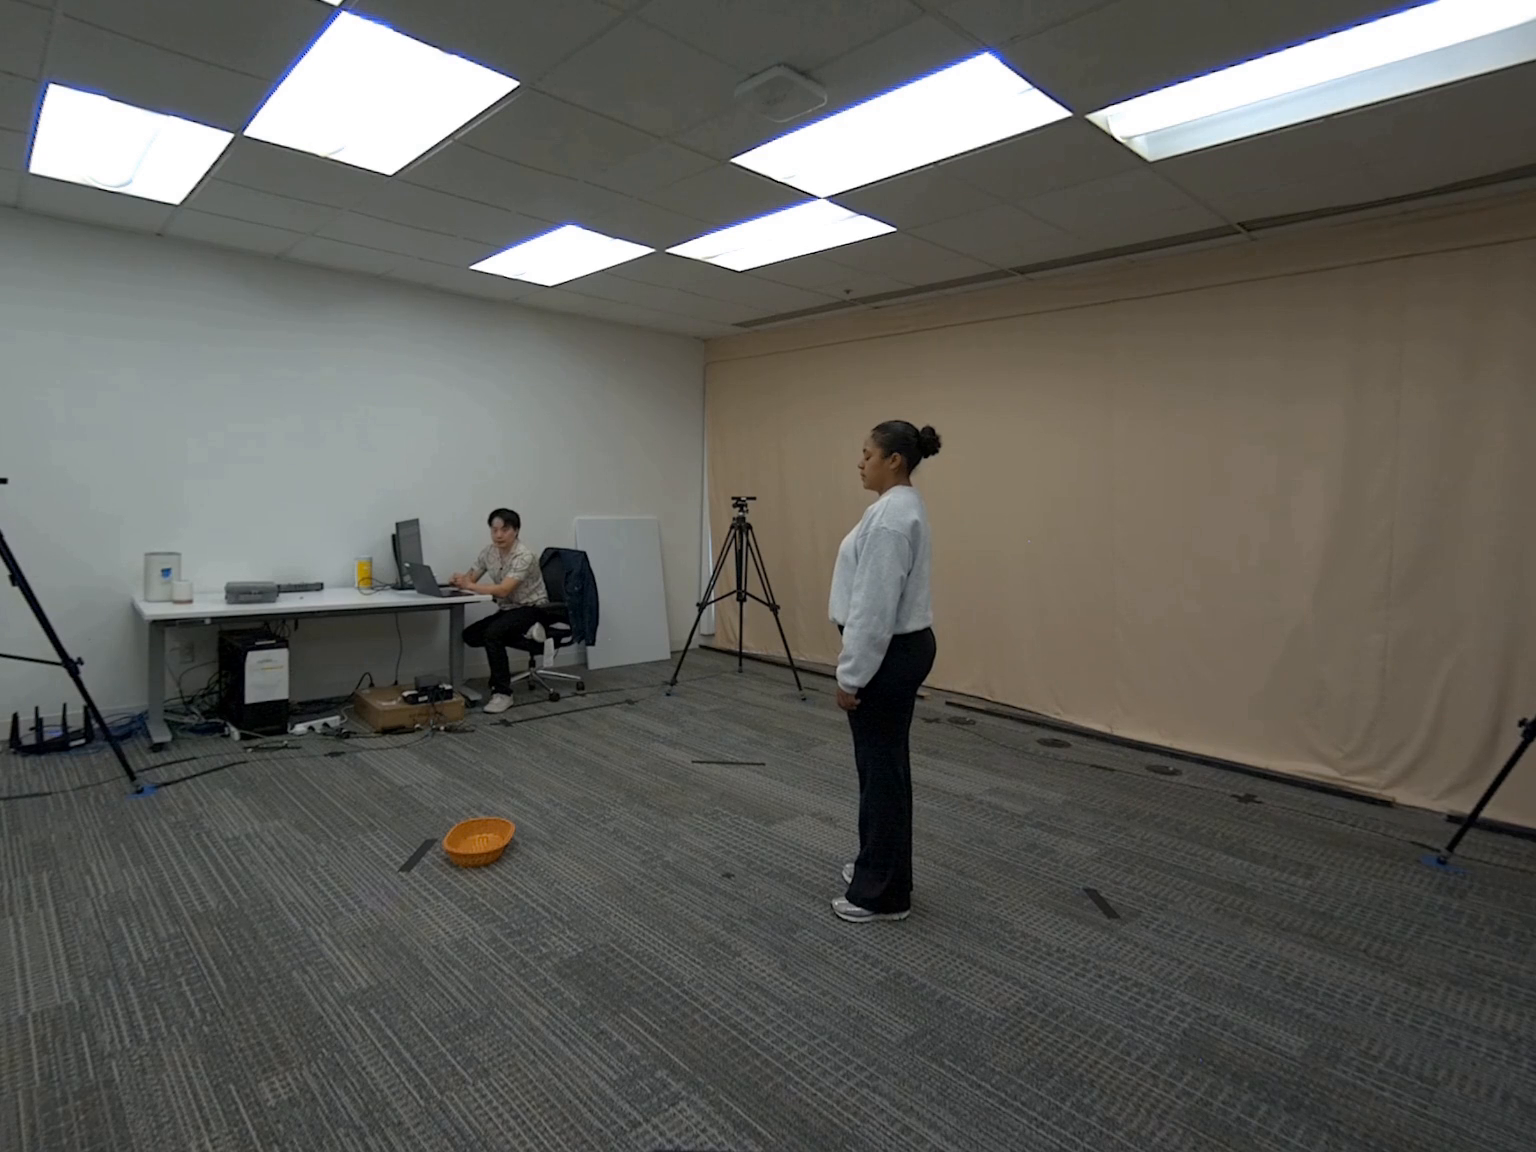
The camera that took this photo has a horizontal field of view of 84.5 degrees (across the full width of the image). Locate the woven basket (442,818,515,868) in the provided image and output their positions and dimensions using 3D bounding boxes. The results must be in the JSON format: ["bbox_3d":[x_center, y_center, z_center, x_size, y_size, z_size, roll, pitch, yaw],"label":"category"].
[{"bbox_3d":[-1.130,1.034,3.263,0.251,0.073,0.353,1,6,-5],"label":"woven basket"}]
